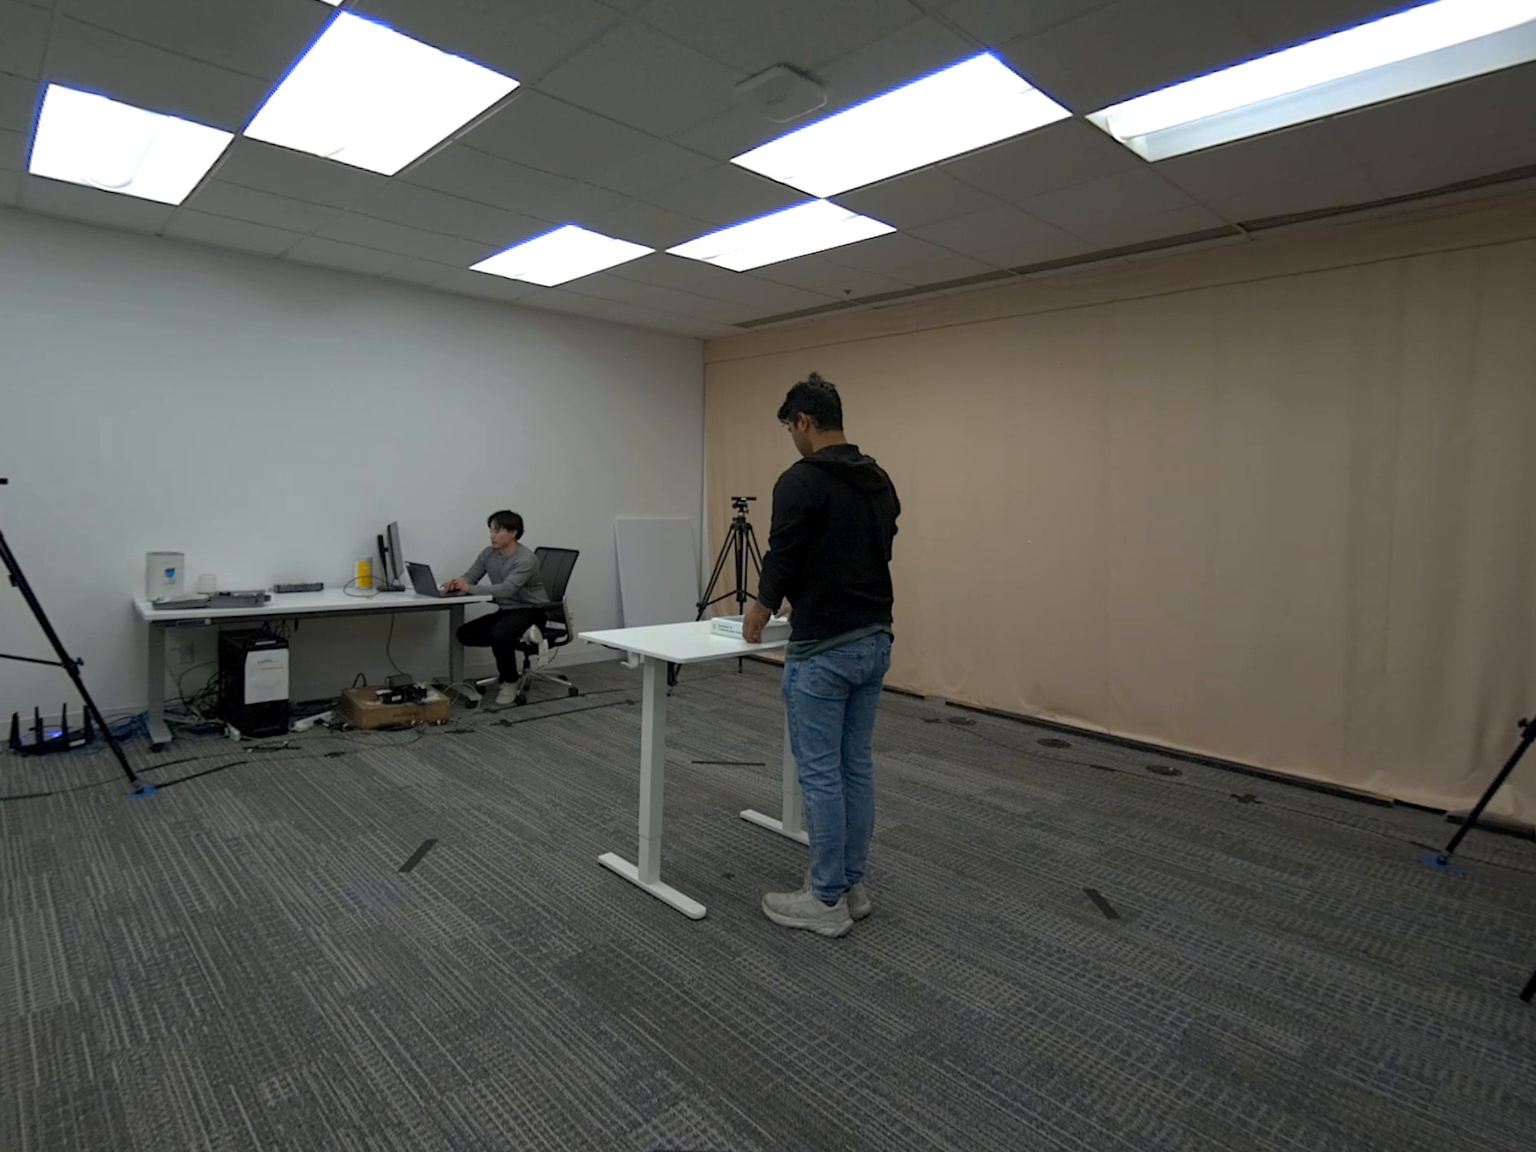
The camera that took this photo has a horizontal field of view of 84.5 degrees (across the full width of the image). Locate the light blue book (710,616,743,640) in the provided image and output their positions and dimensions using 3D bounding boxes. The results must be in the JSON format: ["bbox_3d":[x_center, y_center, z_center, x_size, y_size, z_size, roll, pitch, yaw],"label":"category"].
[{"bbox_3d":[-0.058,0.199,3.152,0.268,0.059,0.187,7,7,44],"label":"light blue book"}]
